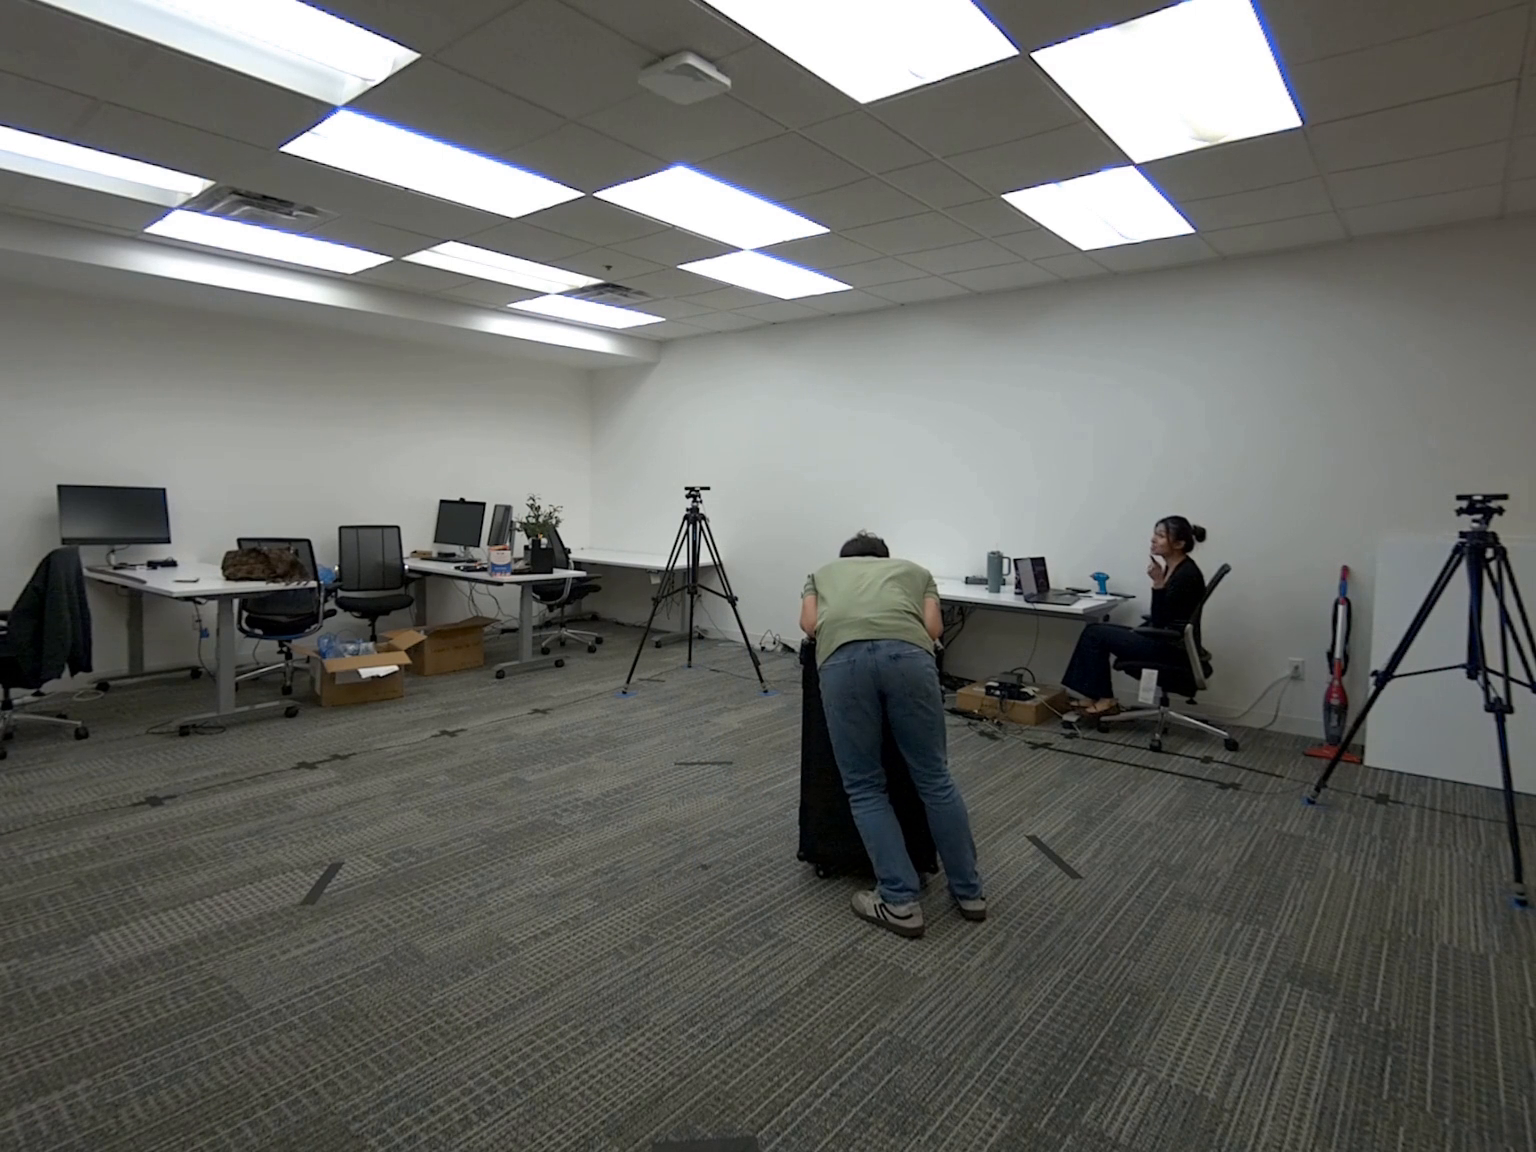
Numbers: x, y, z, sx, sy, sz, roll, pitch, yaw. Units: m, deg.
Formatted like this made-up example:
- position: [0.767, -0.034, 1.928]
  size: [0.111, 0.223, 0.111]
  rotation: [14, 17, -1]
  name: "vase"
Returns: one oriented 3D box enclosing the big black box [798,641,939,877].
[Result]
- position: [0.360, 0.651, 3.158]
  size: [0.527, 0.860, 0.393]
  rotation: [2, 2, 9]
  name: "big black box"
